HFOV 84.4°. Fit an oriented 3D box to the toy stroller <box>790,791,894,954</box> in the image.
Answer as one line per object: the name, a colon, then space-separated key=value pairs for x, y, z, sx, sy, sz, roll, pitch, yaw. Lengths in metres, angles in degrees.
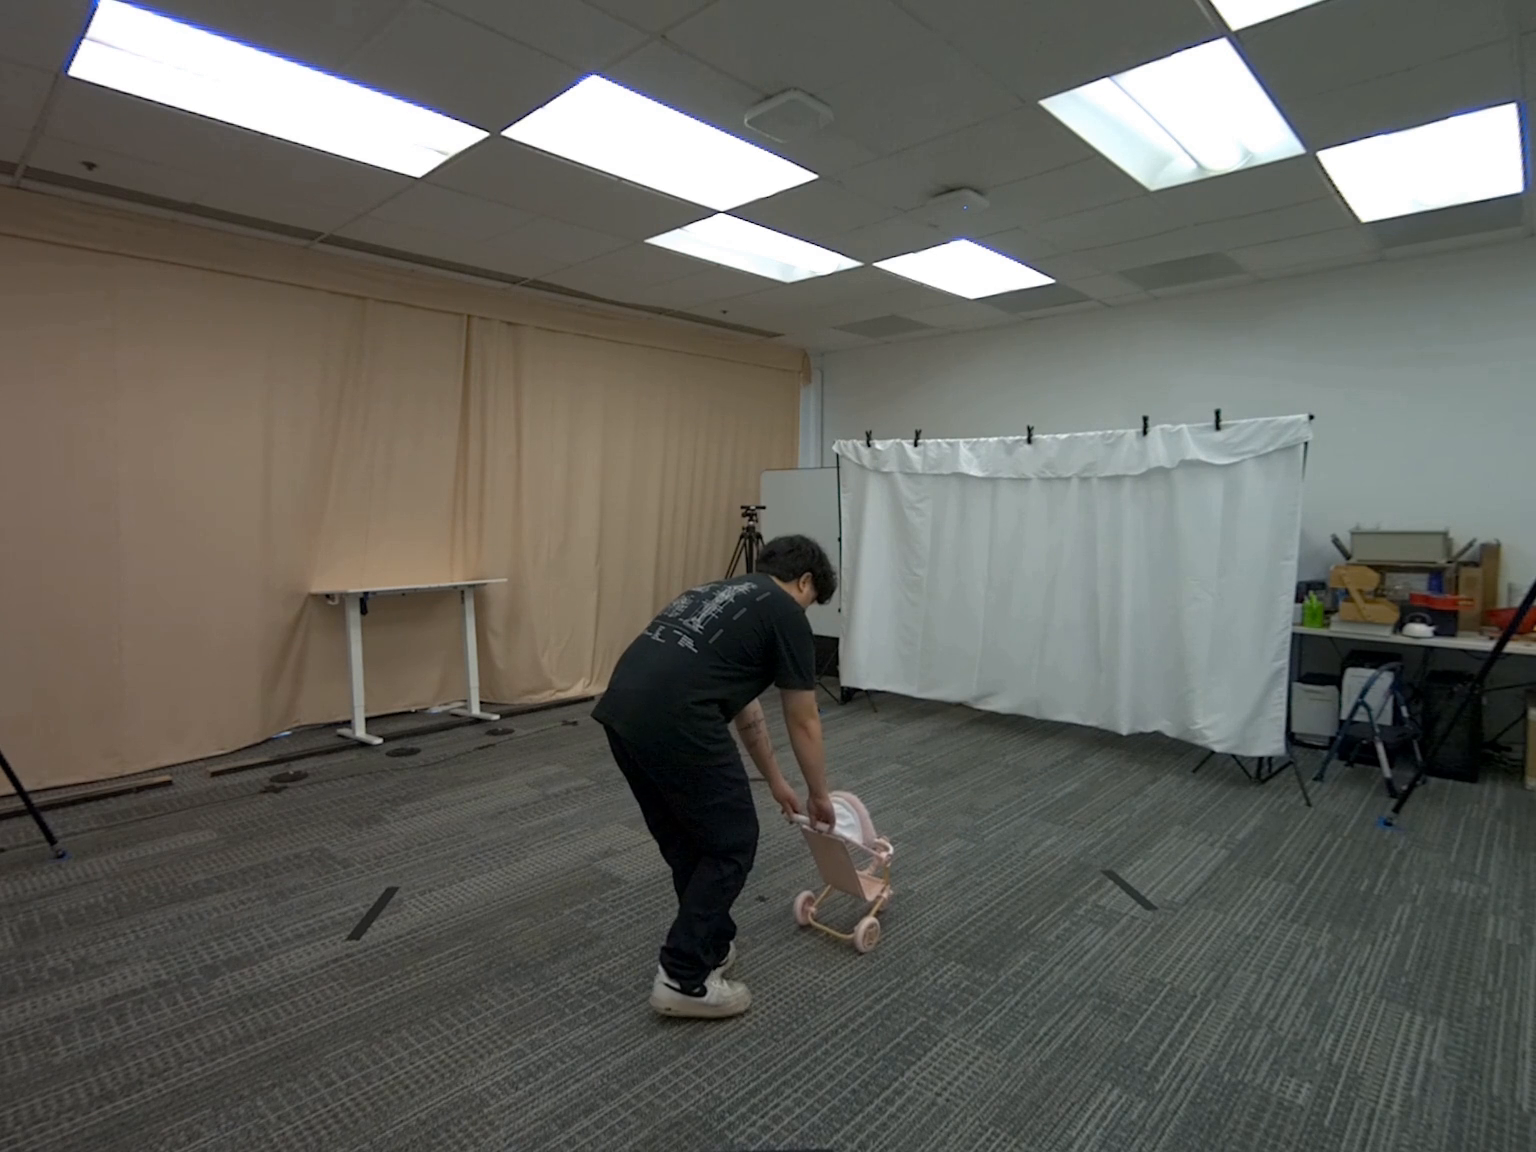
toy stroller: x=0.263 y=0.937 z=2.744 sx=0.334 sy=0.529 sz=0.291 roll=-24 pitch=19 yaw=-40
